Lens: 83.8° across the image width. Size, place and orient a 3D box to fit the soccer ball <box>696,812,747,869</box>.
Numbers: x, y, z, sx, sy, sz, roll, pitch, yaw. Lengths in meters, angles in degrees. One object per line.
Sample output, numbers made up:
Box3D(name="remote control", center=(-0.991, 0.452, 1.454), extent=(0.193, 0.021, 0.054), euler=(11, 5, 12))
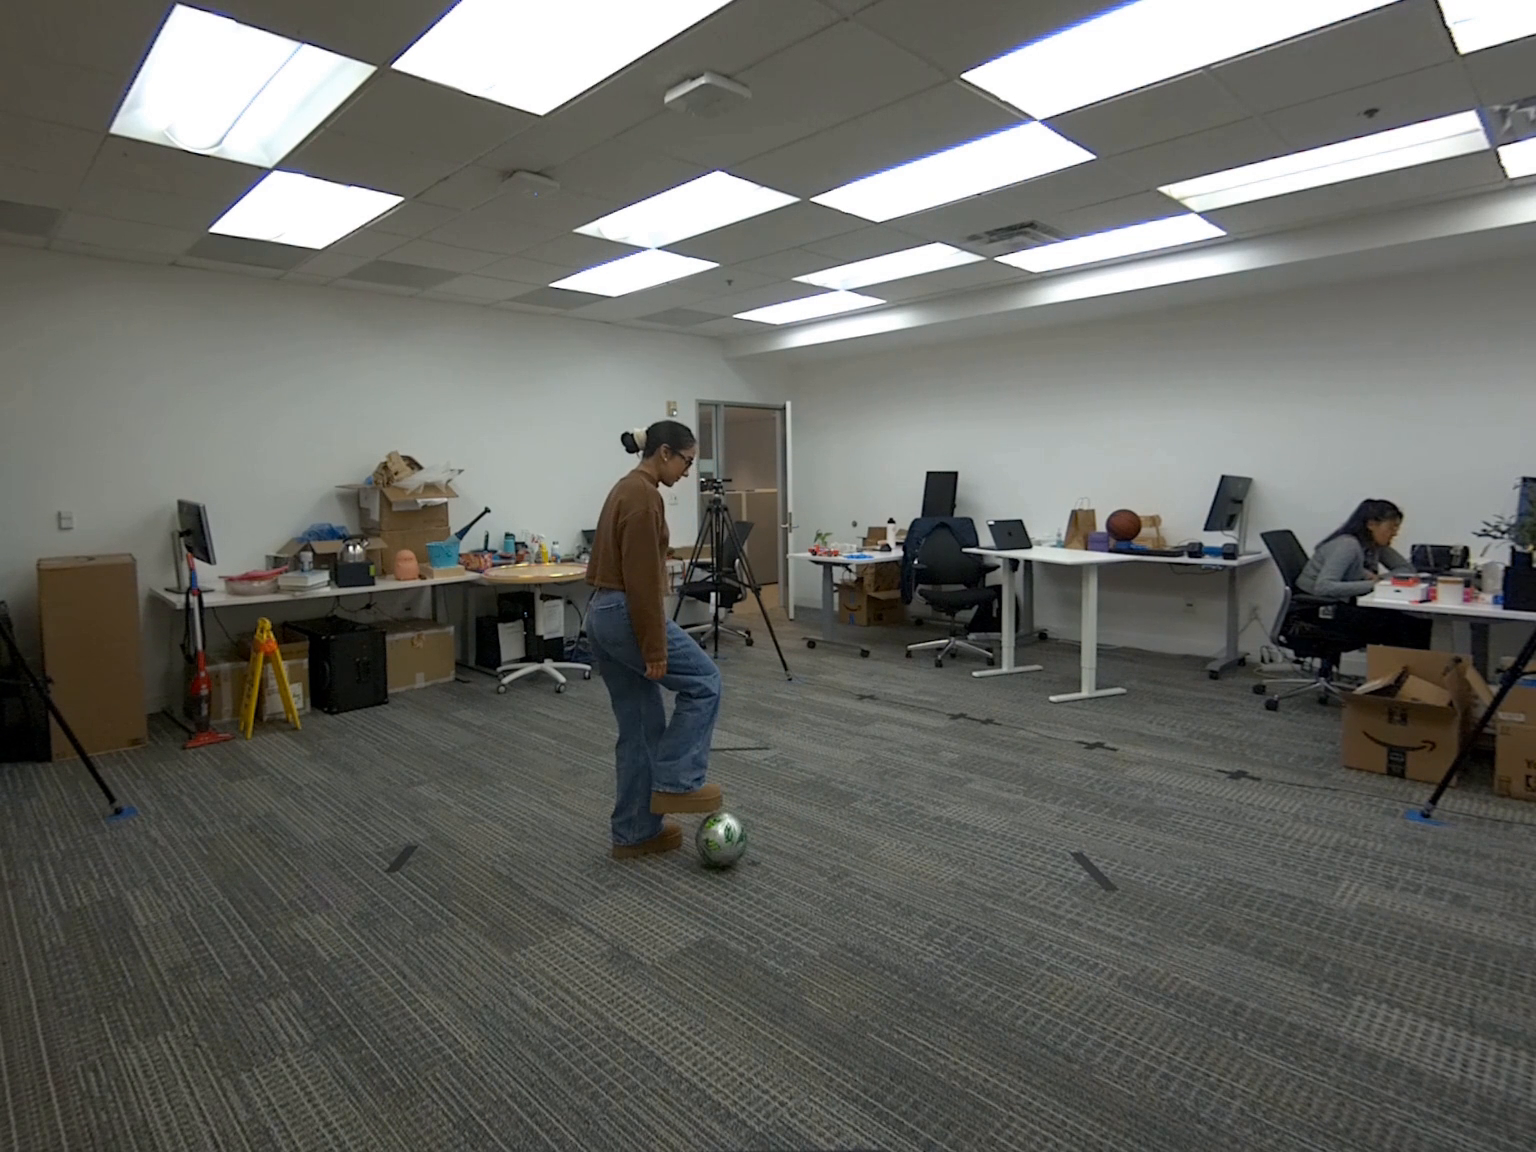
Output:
Box3D(name="soccer ball", center=(-0.164, 0.950, 3.093), extent=(0.187, 0.187, 0.188), euler=(-1, 5, -2))
